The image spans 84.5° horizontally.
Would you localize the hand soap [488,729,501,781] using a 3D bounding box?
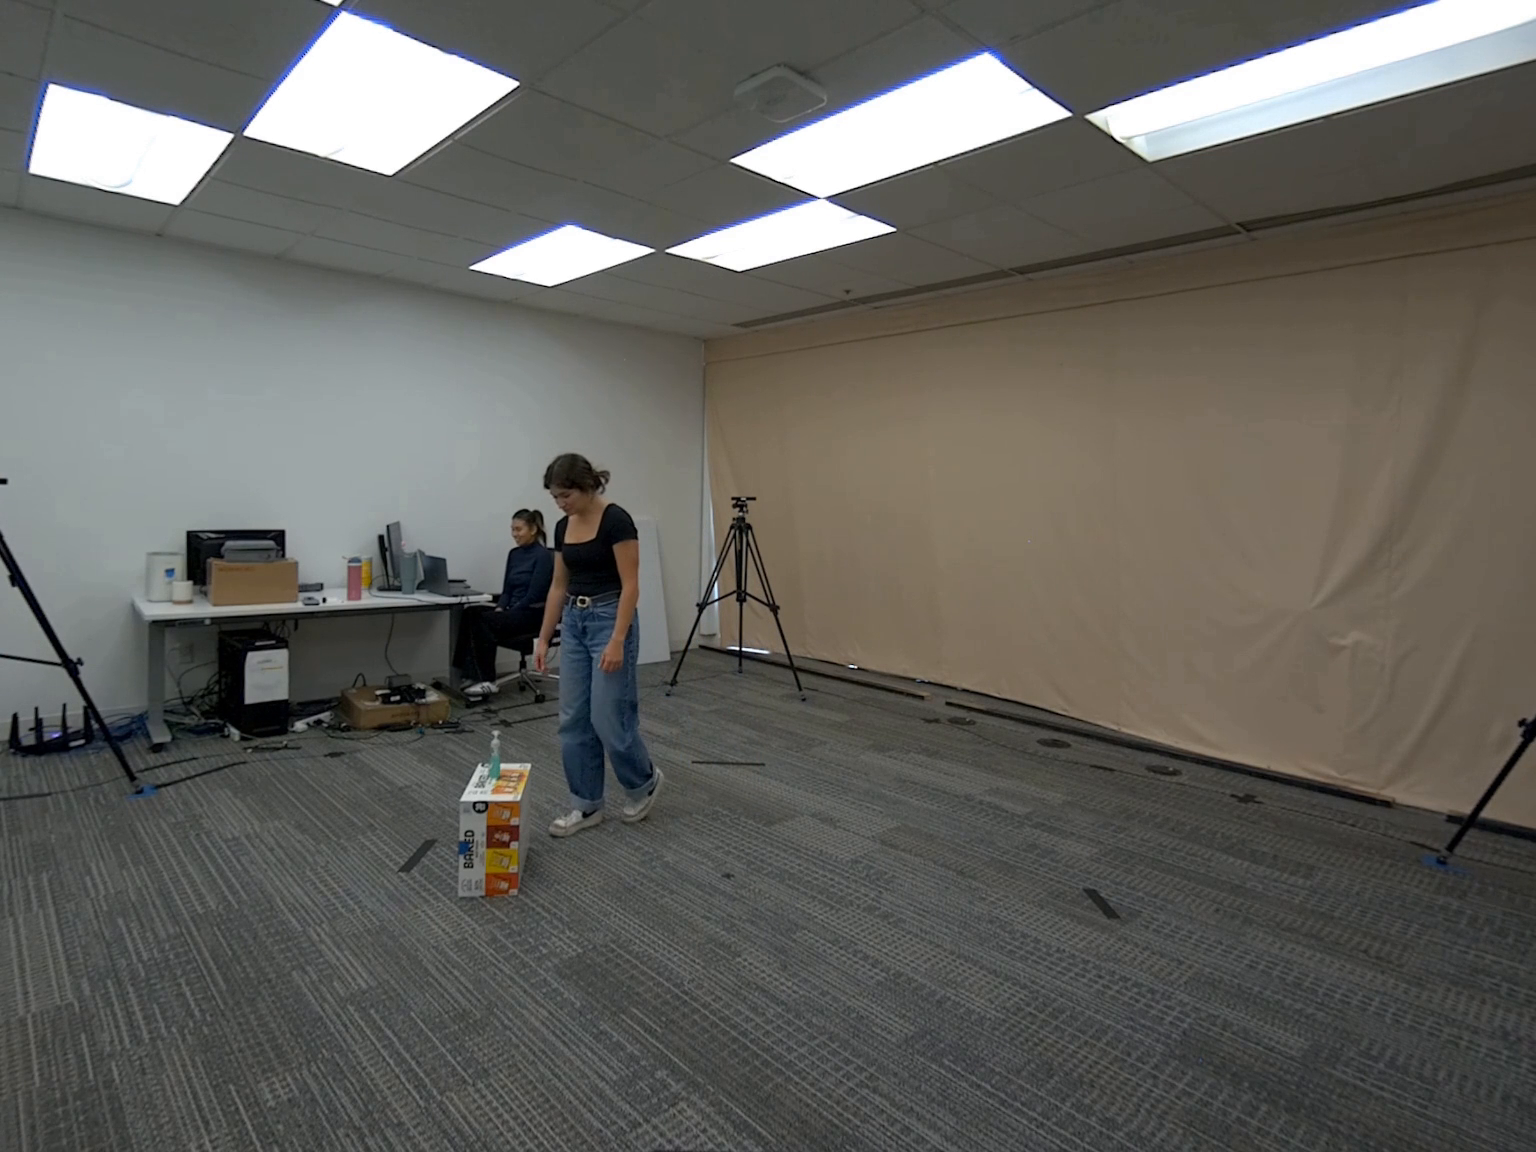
[{"bbox_3d":[-1.029,0.665,3.135,0.043,0.167,0.086,2,7,-16],"label":"hand soap"}]
